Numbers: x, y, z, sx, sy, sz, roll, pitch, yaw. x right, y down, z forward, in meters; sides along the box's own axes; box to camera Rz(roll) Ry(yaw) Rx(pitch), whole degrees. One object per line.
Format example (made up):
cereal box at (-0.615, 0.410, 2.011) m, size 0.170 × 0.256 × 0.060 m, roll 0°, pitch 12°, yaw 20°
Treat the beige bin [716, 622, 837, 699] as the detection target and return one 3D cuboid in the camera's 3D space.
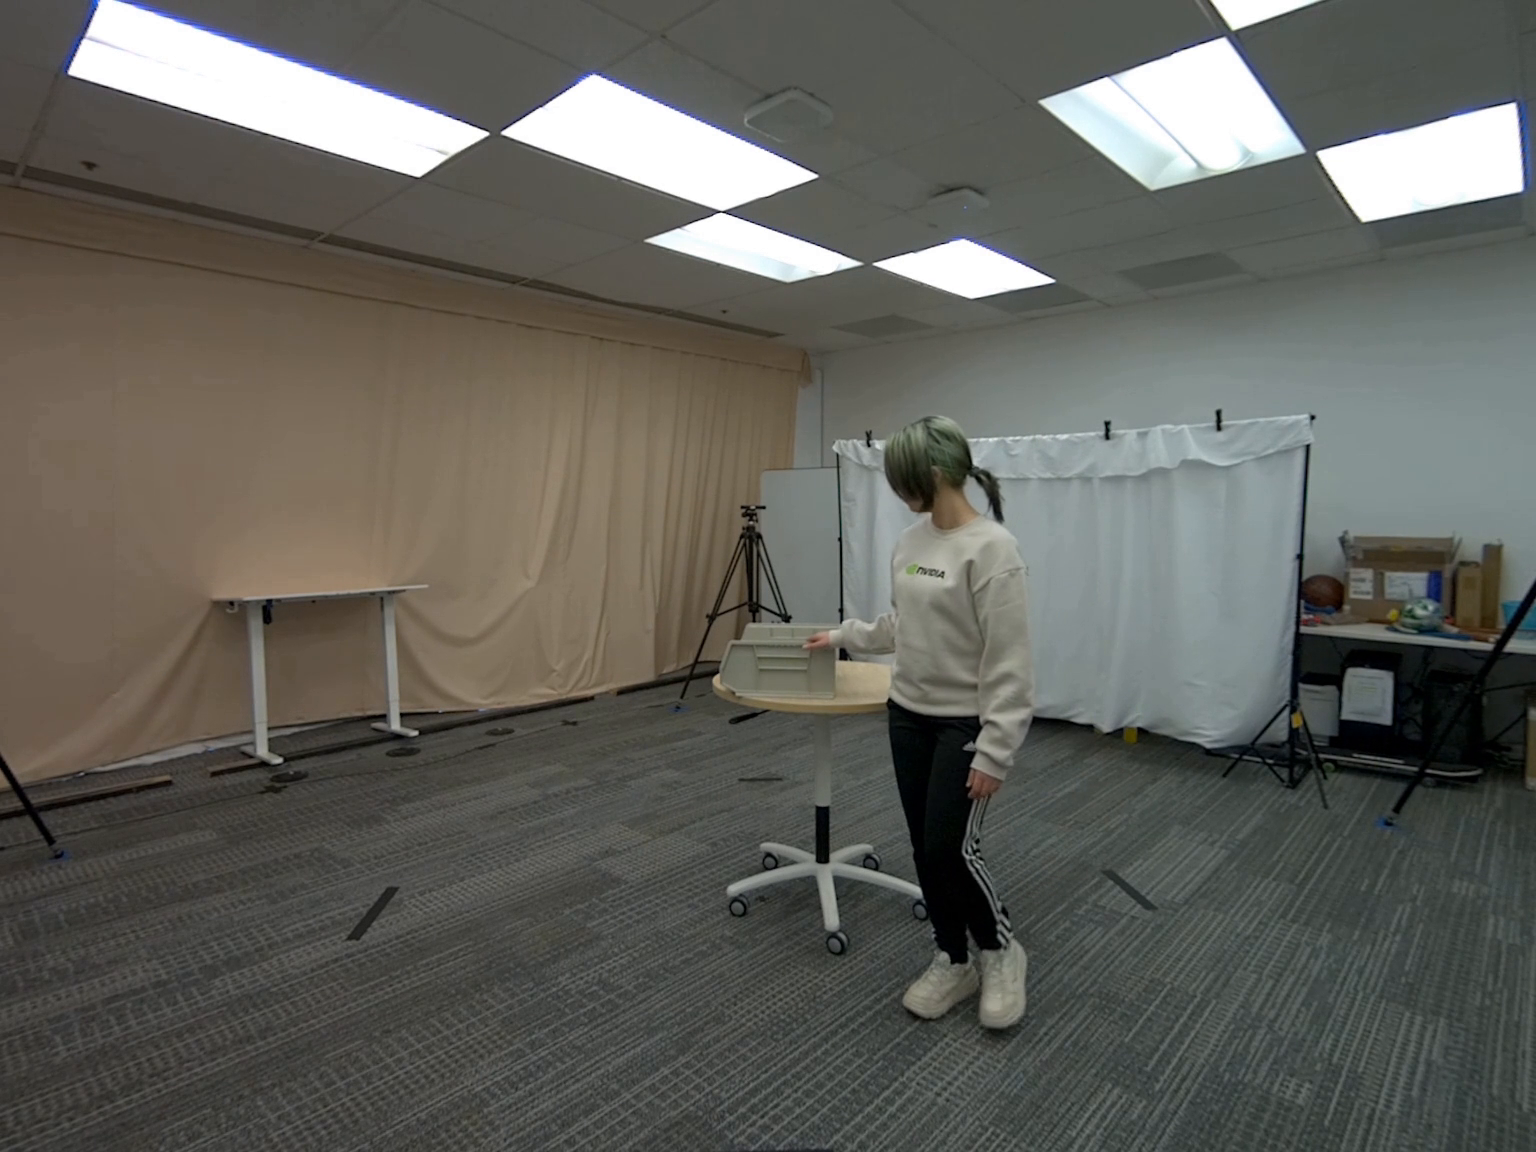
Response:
beige bin at (0.066, 0.276, 2.862) m, size 0.381 × 0.188 × 0.419 m, roll 2°, pitch 4°, yaw 7°
